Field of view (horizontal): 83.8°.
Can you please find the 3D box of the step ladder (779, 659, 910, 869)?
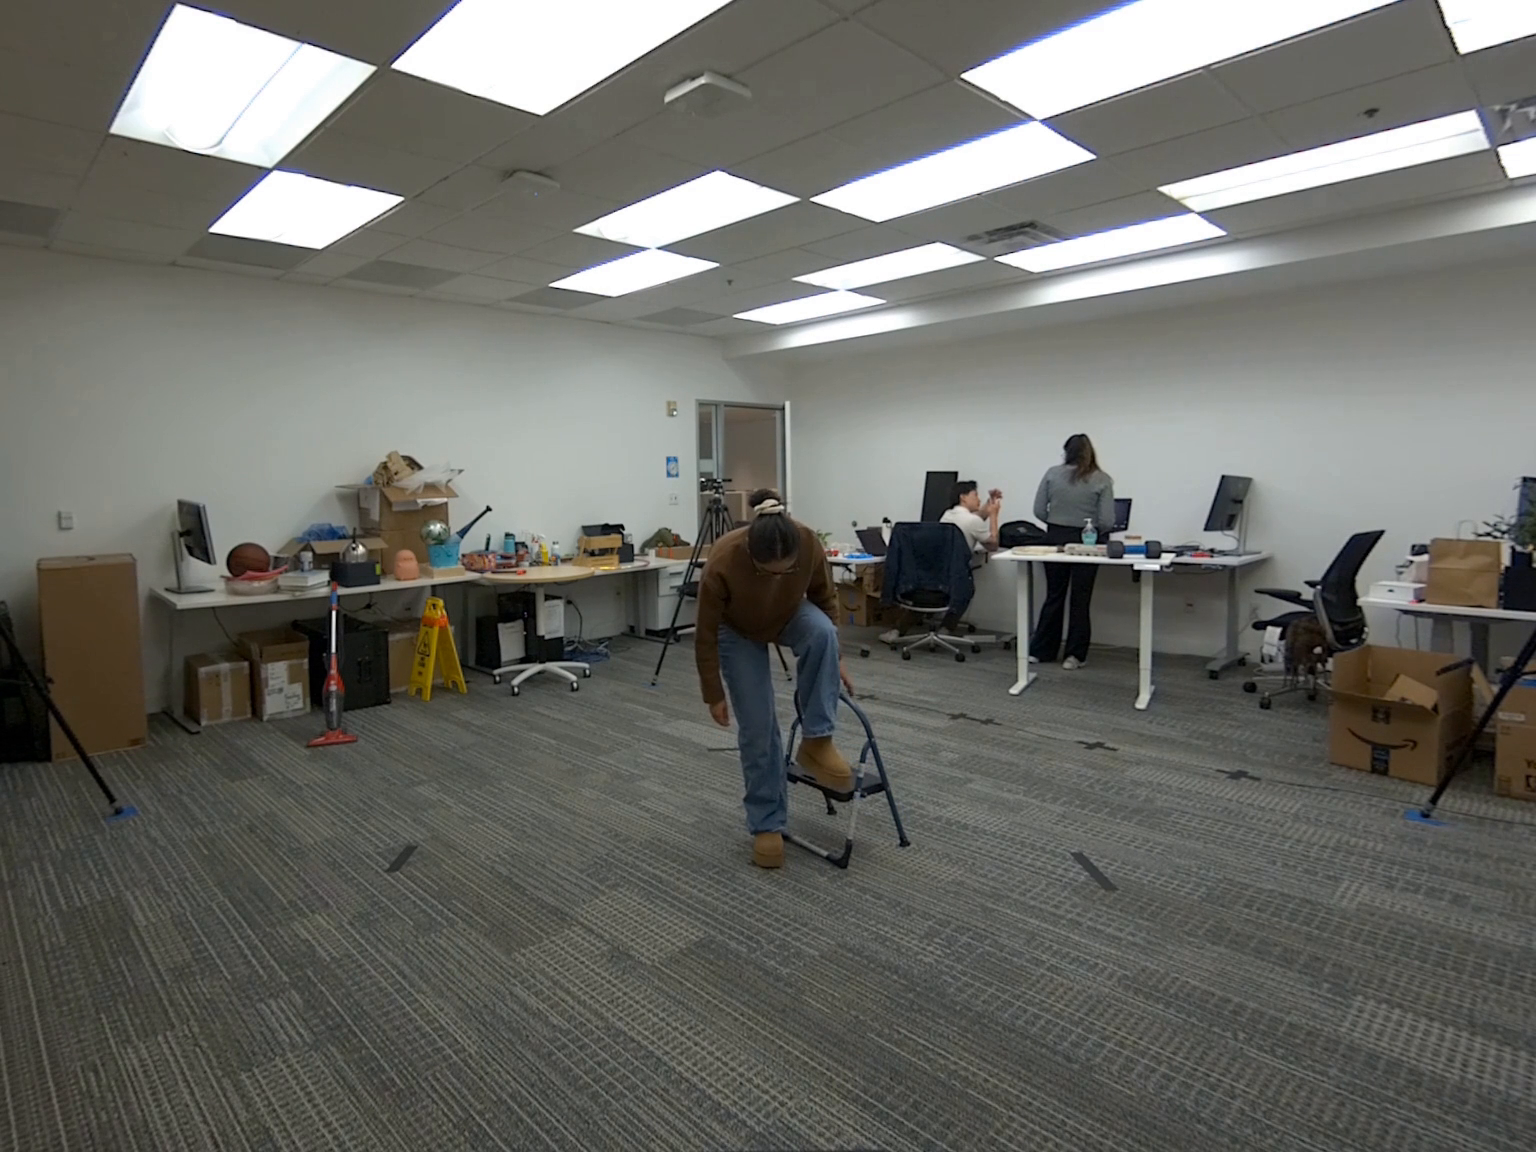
[{"bbox_3d":[0.270,0.713,3.291,0.340,0.604,0.444,-5,6,-38],"label":"step ladder"}]
